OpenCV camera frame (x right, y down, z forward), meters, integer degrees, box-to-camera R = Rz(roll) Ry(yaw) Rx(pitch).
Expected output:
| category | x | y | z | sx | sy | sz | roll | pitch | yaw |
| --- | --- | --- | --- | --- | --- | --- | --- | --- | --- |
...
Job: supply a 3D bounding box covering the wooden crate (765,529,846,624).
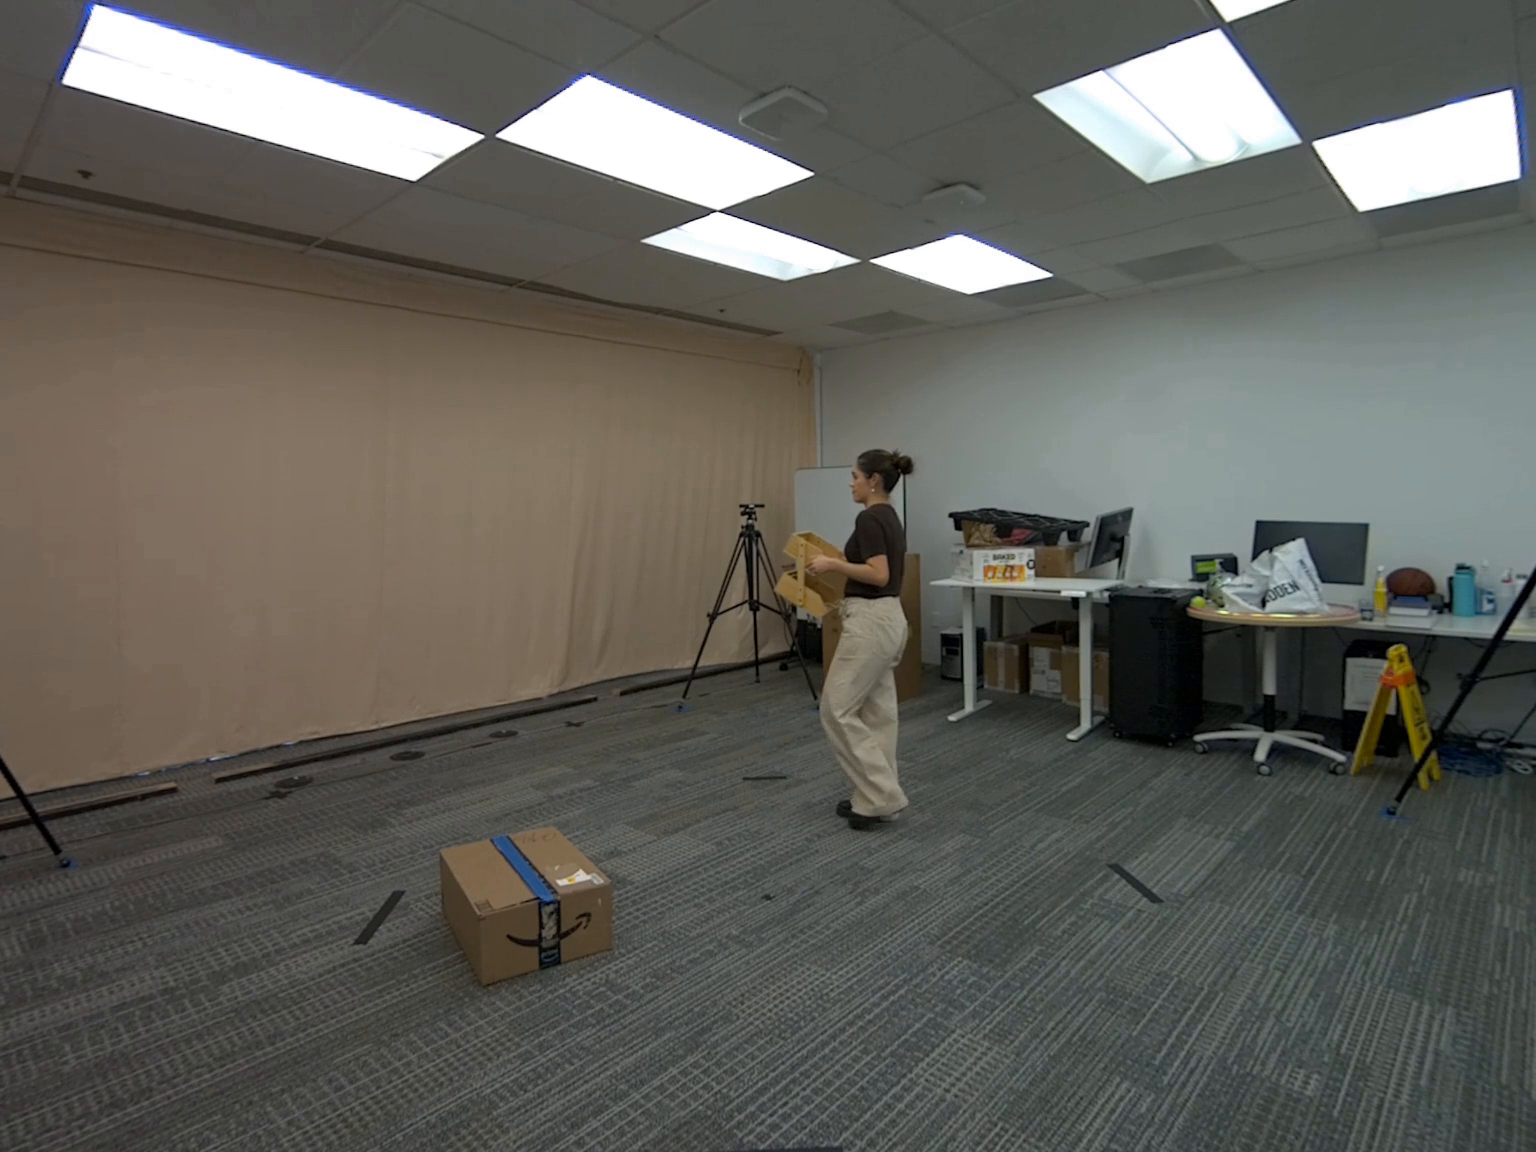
| category | x | y | z | sx | sy | sz | roll | pitch | yaw |
| --- | --- | --- | --- | --- | --- | --- | --- | --- | --- |
| wooden crate | 0.222 | -0.009 | 3.758 | 0.307 | 0.273 | 0.319 | 32 | 12 | 13 |
